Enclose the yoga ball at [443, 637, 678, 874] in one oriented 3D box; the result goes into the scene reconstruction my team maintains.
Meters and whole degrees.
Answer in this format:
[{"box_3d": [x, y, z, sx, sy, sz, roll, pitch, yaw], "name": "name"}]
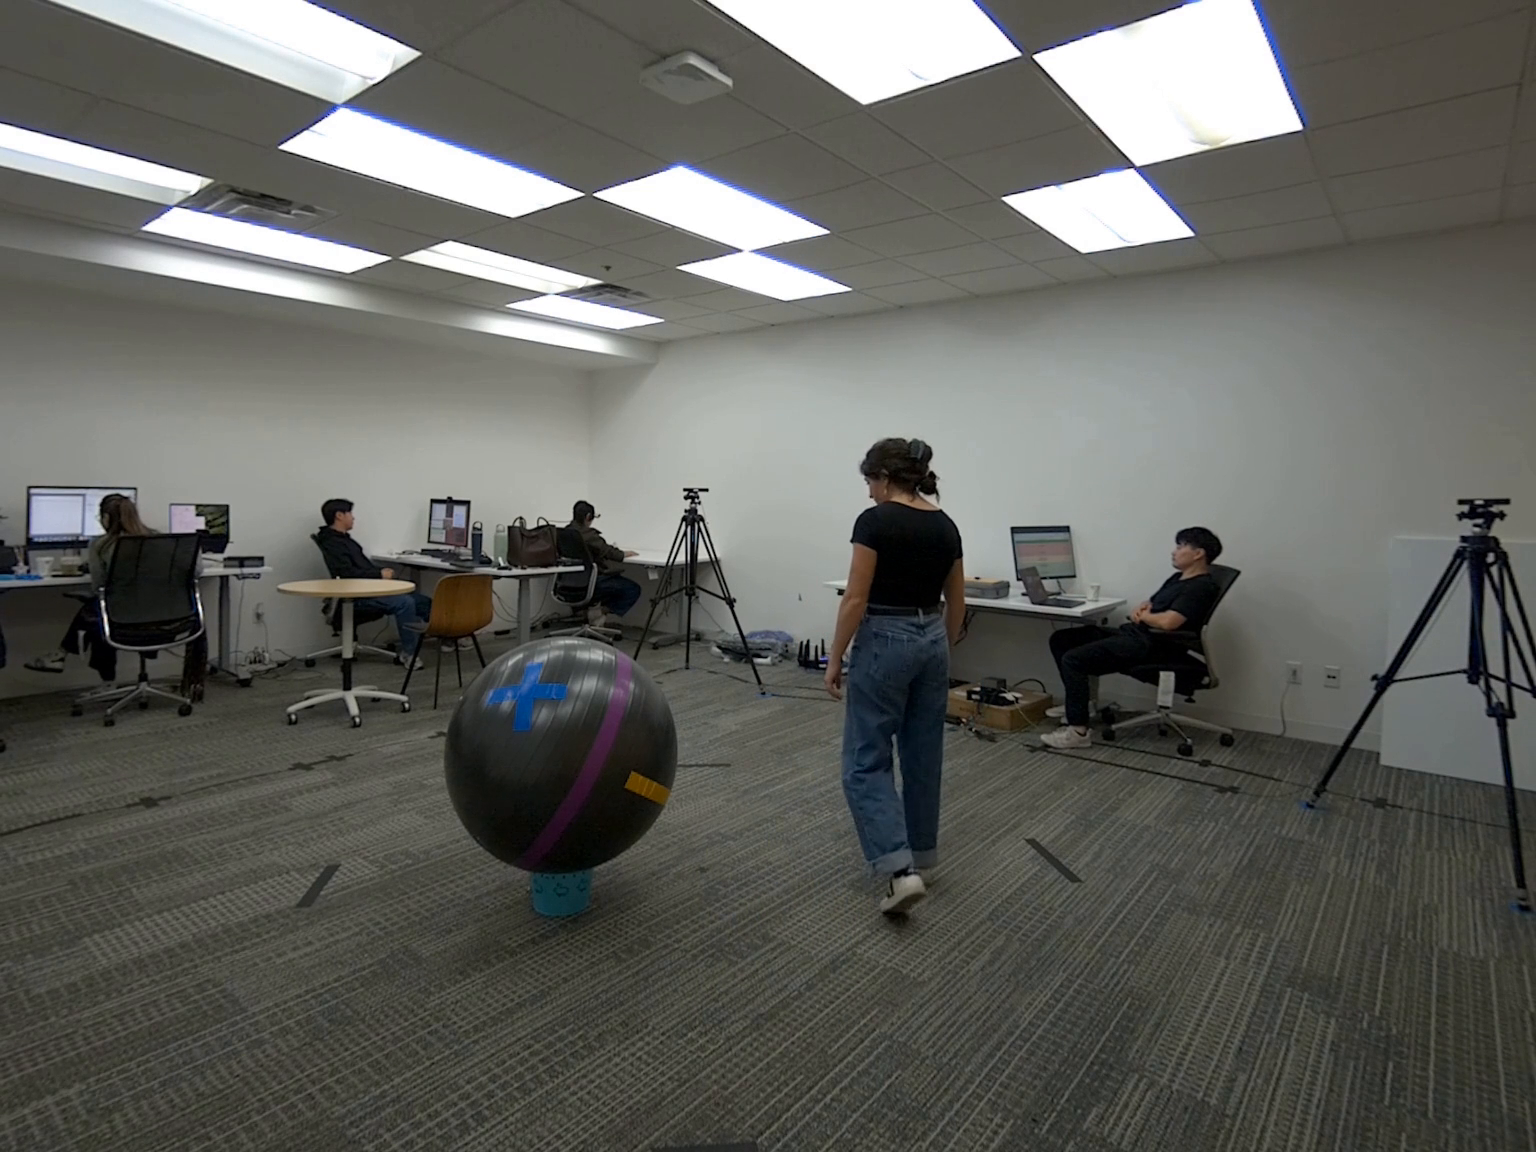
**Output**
[{"box_3d": [-0.692, 0.587, 2.814, 0.757, 0.755, 0.762, 1, 4, -2], "name": "yoga ball"}]
